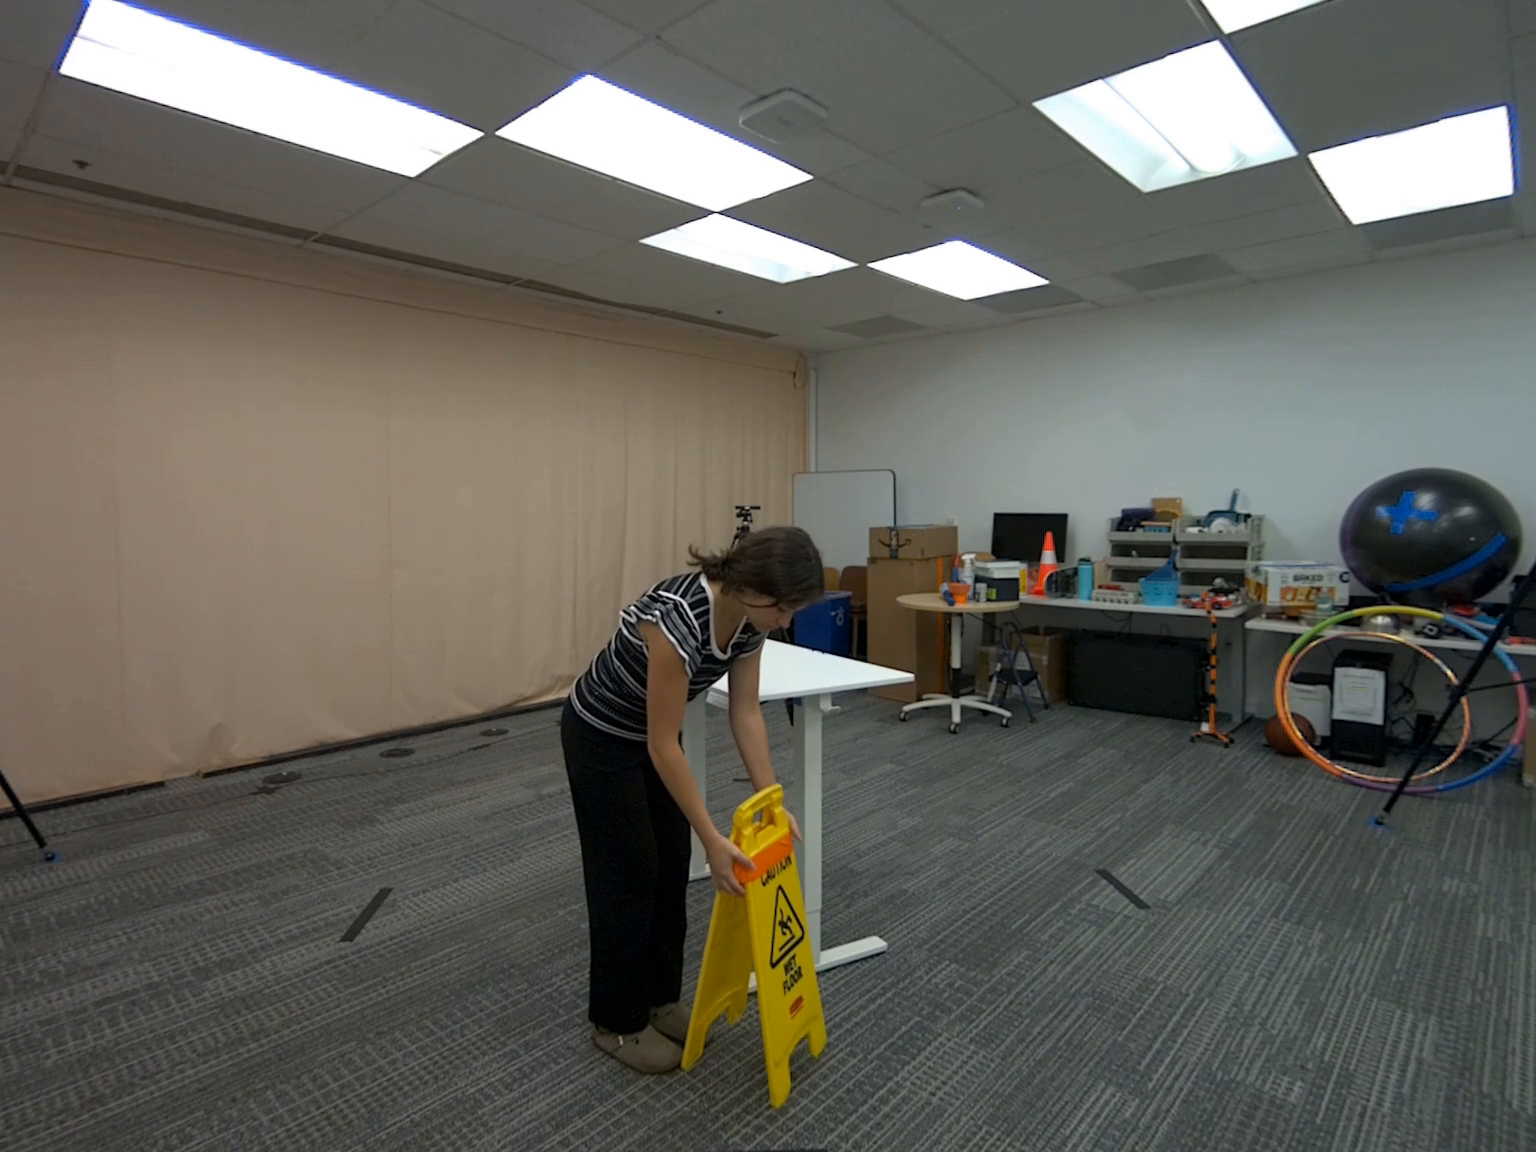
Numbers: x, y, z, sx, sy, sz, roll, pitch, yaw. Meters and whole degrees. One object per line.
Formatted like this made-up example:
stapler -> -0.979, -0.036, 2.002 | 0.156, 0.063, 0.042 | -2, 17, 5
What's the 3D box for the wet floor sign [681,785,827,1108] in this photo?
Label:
wet floor sign -> -0.026, 0.854, 2.007 | 0.298, 0.645, 0.275 | 2, 3, 29
